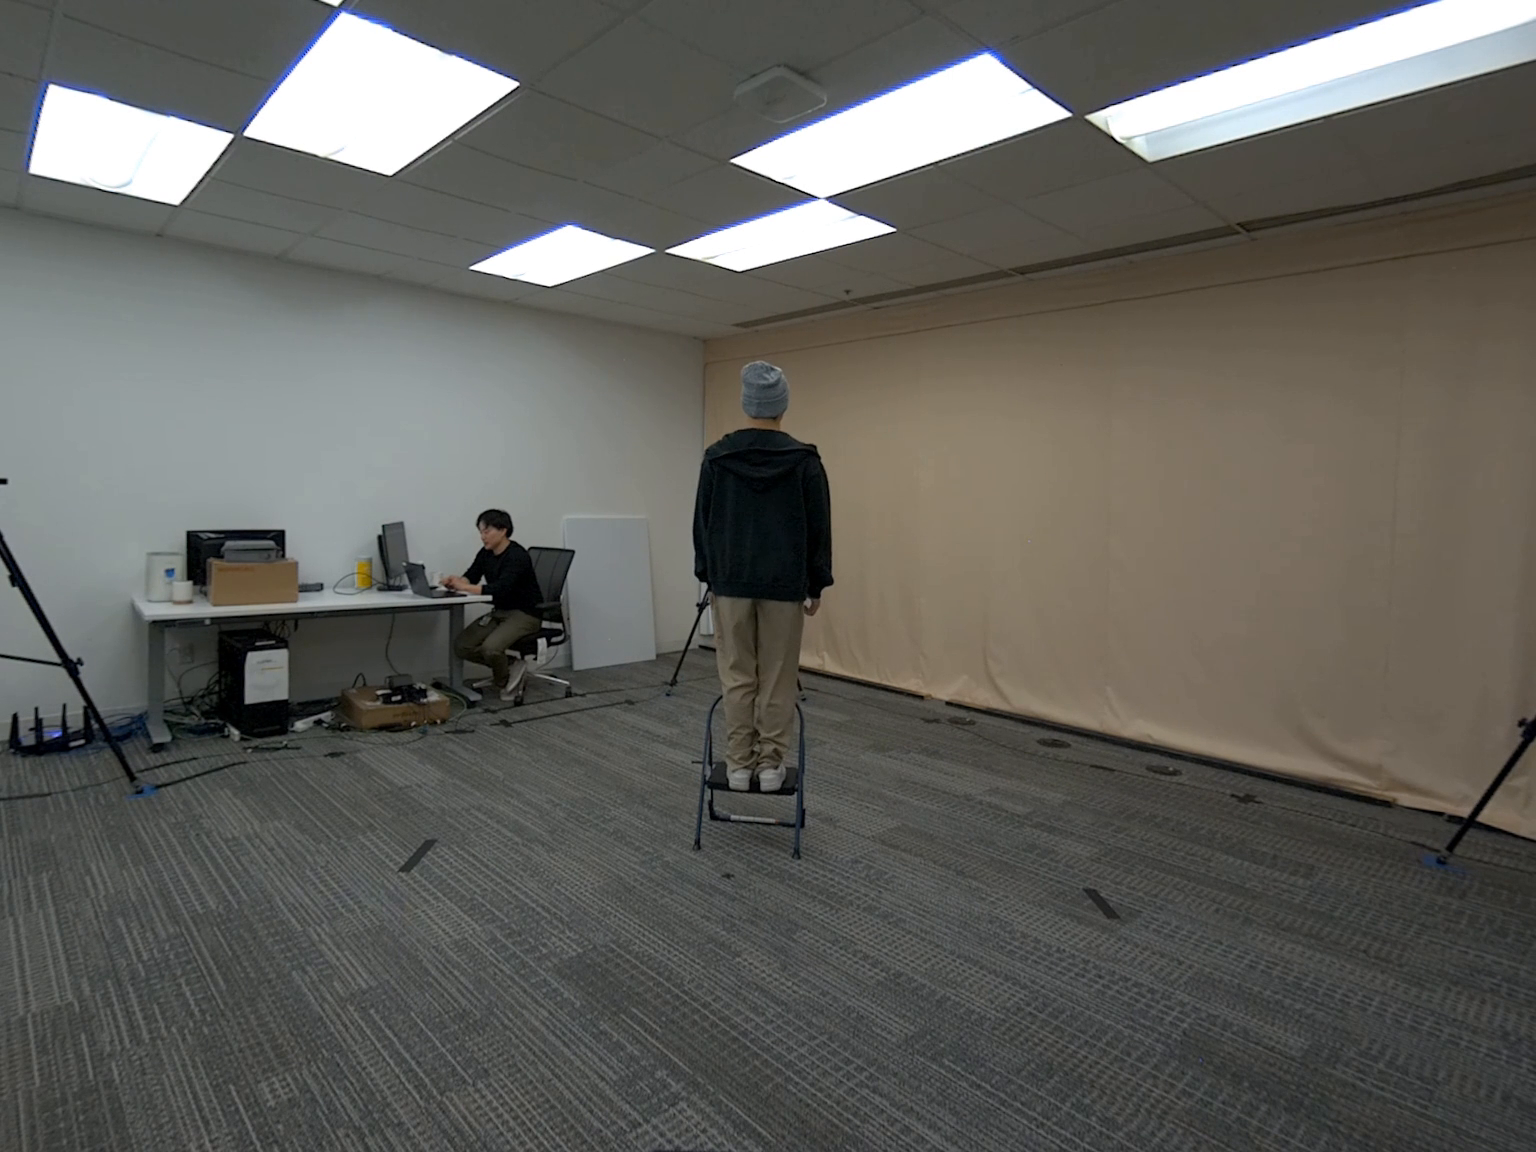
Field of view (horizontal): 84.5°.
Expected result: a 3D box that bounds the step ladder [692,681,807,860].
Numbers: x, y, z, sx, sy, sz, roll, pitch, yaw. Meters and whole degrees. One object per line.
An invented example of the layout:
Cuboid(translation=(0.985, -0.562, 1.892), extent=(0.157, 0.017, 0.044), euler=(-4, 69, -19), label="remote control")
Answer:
Cuboid(translation=(-0.066, 0.782, 3.456), extent=(0.433, 0.604, 0.348), euler=(2, 4, 7), label="step ladder")
